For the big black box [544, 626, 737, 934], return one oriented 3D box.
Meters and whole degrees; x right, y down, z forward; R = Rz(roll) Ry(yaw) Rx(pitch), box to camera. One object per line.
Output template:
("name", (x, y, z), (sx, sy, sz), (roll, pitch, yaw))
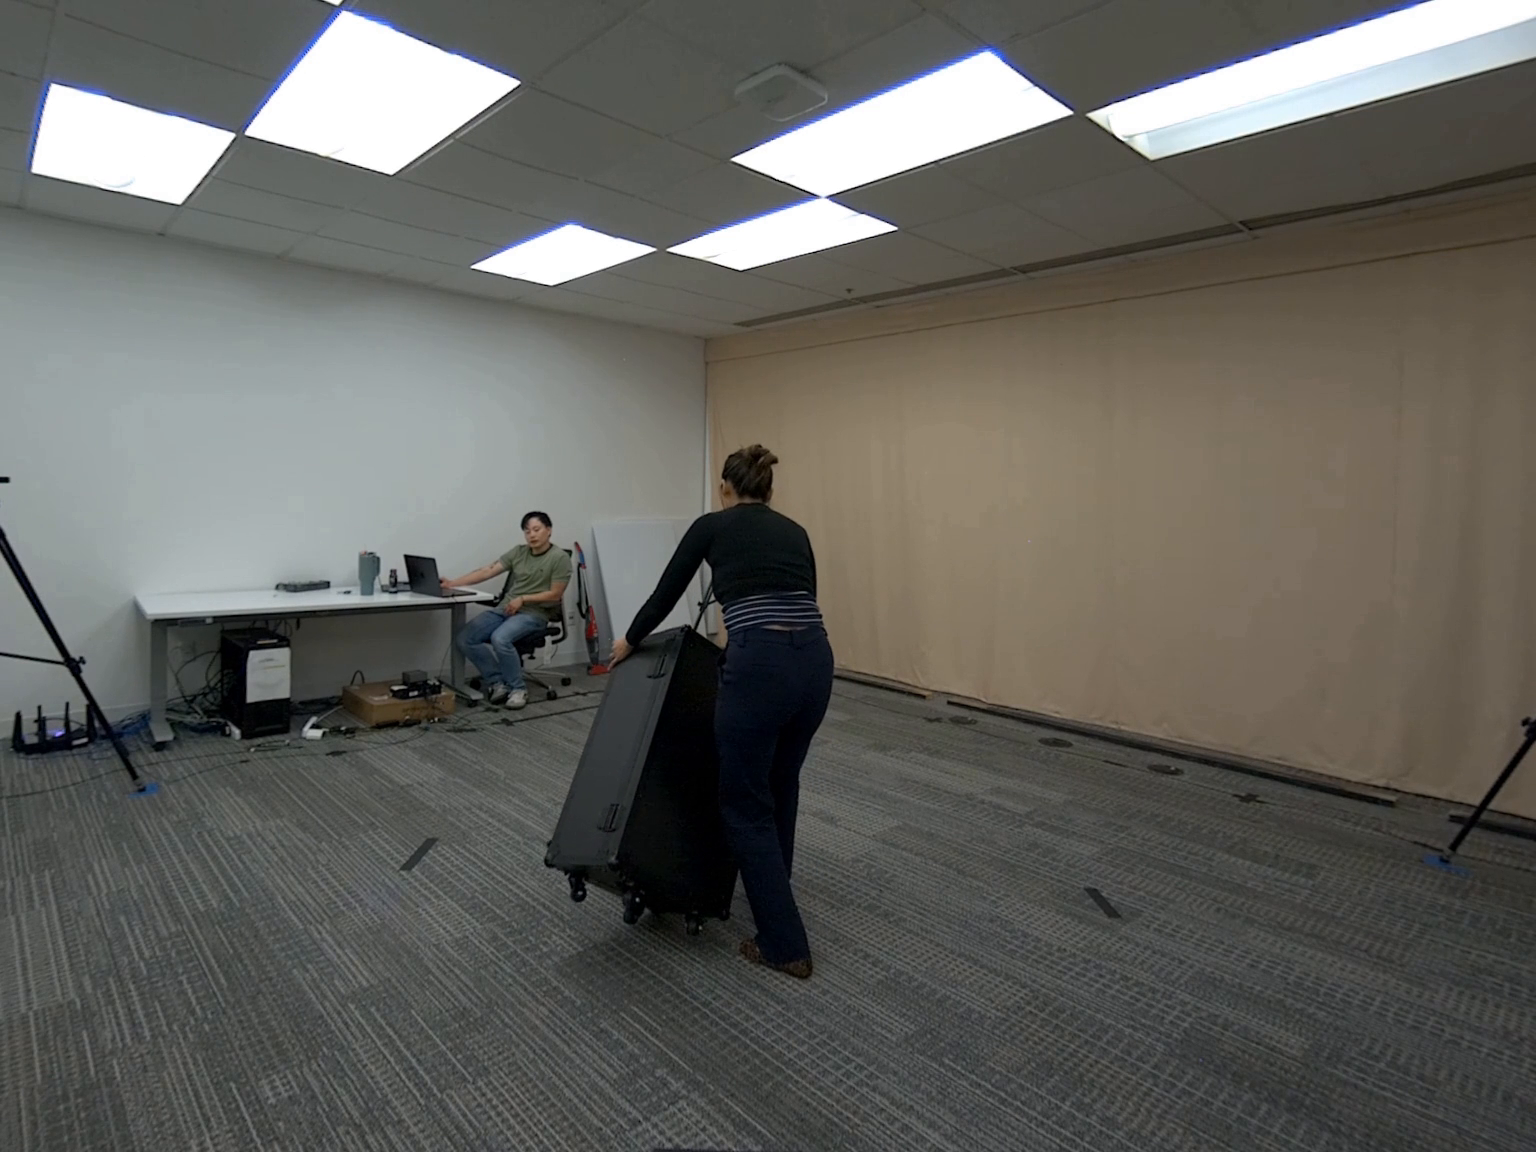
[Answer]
("big black box", (-0.349, 0.677, 2.776), (0.402, 0.873, 0.506), (-18, -44, 40))
